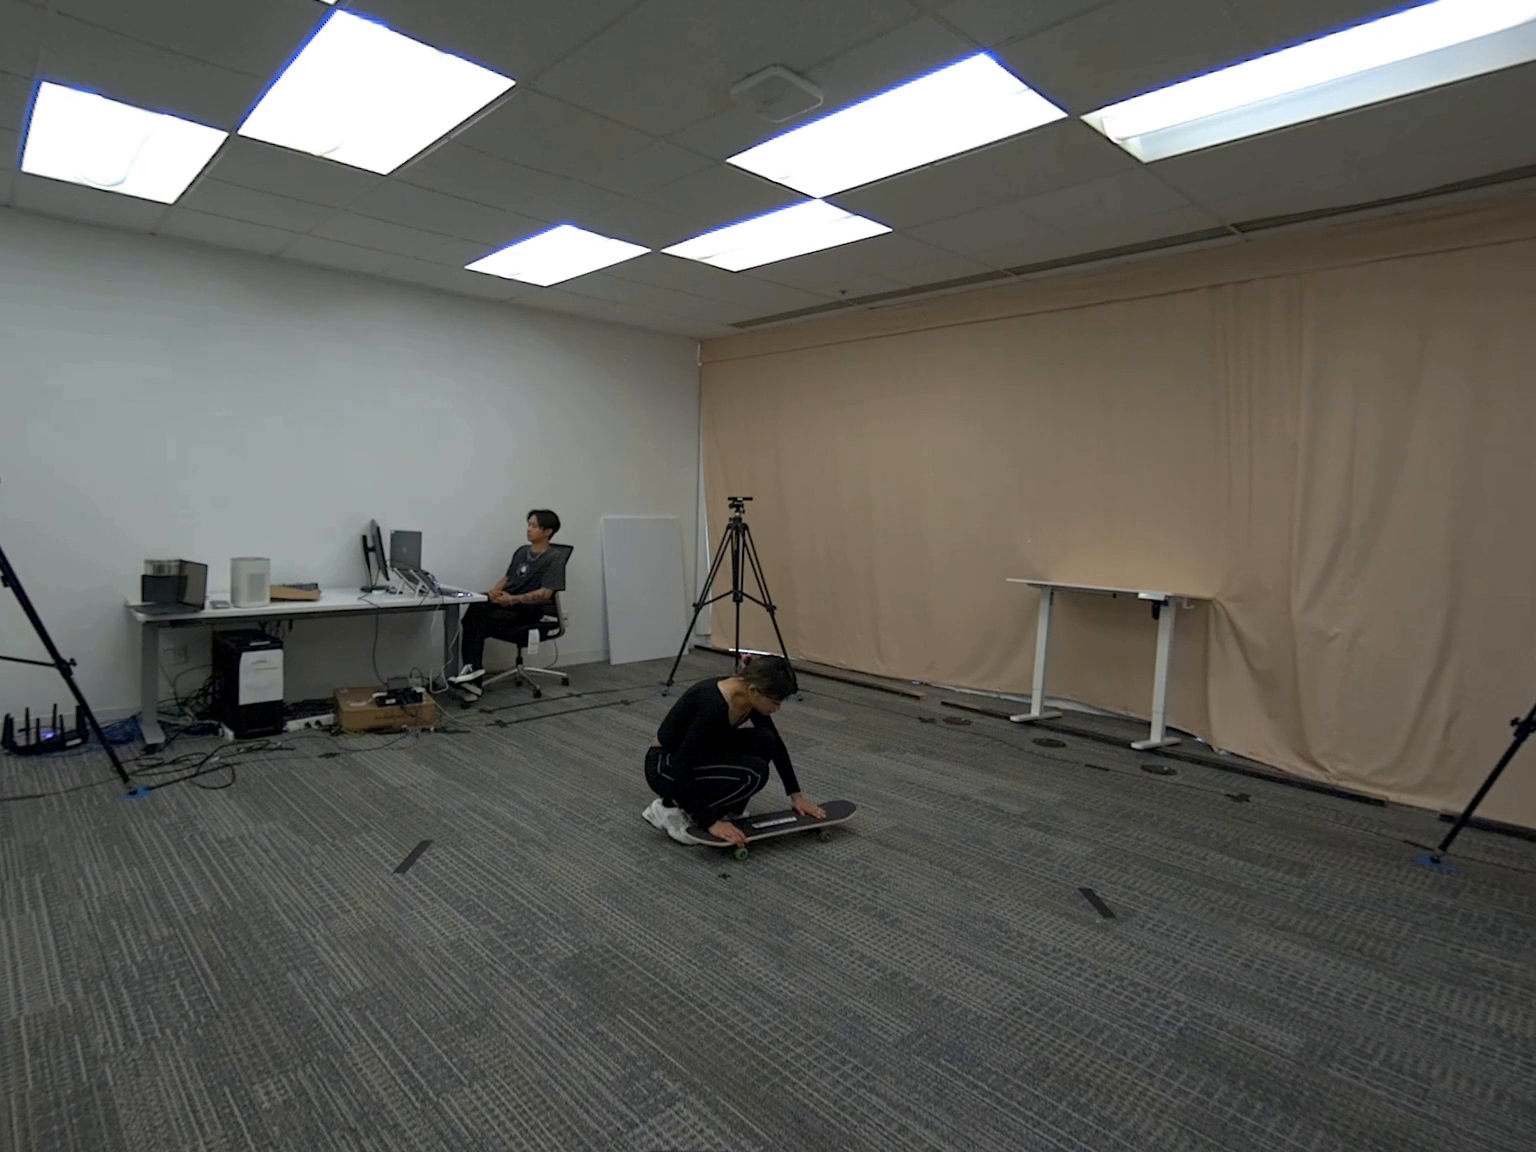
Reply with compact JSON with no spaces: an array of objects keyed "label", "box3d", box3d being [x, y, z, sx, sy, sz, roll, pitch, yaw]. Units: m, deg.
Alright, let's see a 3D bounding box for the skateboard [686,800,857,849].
[{"label":"skateboard","box3d":[0.016,1.027,3.404,0.769,0.110,0.198,-1,7,-31]}]
